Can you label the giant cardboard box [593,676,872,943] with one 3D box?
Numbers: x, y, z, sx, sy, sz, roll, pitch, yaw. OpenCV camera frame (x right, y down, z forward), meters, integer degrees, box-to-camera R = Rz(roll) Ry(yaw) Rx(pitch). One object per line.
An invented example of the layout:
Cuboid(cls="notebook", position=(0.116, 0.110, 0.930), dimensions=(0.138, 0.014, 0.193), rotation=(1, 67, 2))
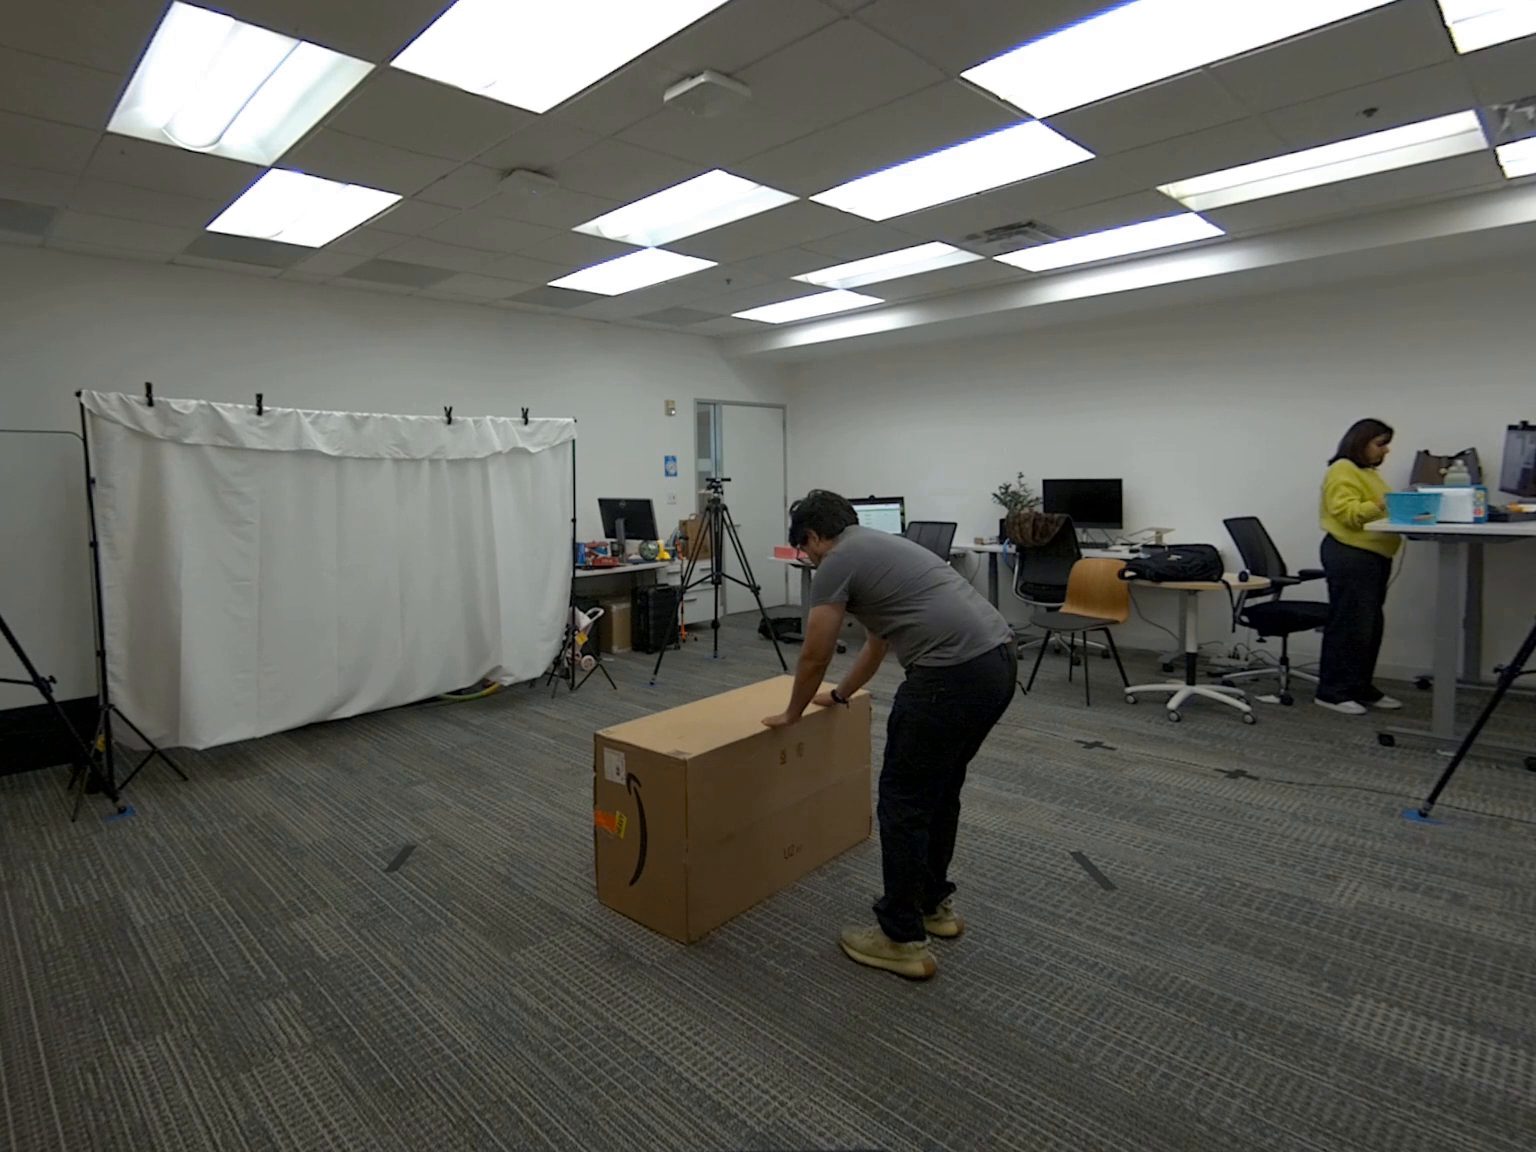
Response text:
Cuboid(cls="giant cardboard box", position=(-0.091, 0.757, 3.061), dimensions=(0.439, 0.575, 0.999), rotation=(3, 7, 40))
